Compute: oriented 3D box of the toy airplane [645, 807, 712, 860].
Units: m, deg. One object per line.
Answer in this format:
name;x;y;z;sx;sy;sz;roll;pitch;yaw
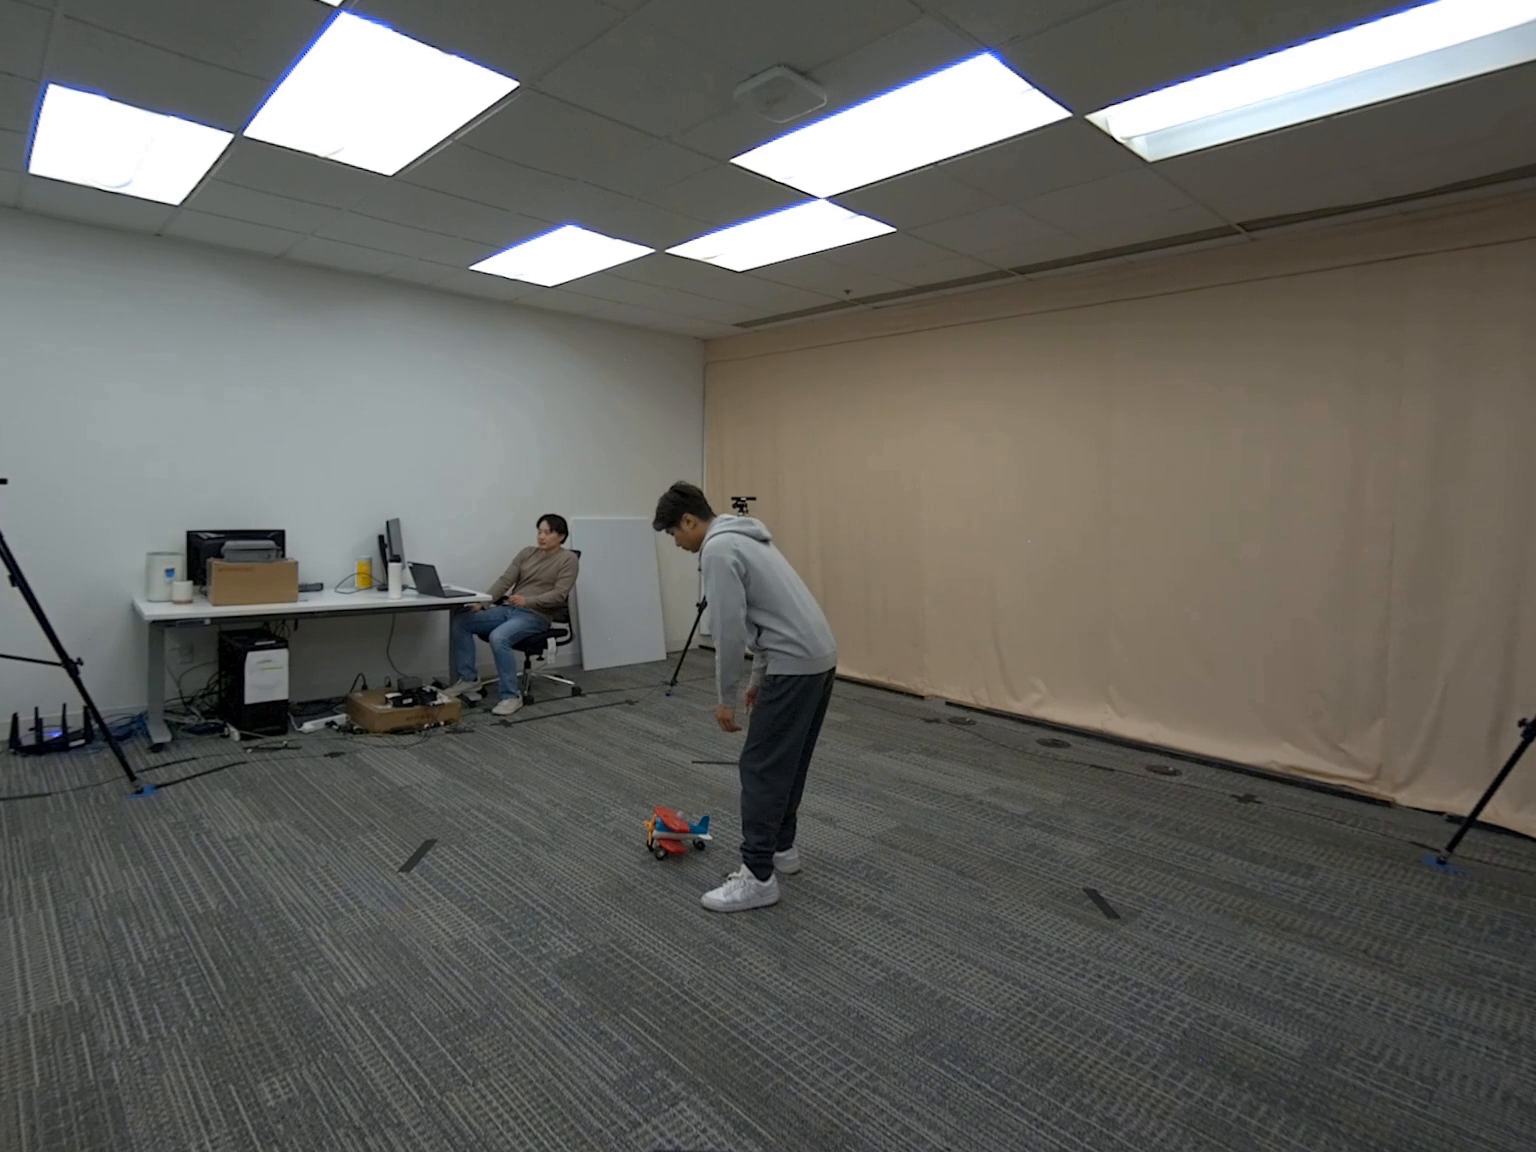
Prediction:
toy airplane;-0.369;1.005;3.318;0.257;0.156;0.254;5;7;36
